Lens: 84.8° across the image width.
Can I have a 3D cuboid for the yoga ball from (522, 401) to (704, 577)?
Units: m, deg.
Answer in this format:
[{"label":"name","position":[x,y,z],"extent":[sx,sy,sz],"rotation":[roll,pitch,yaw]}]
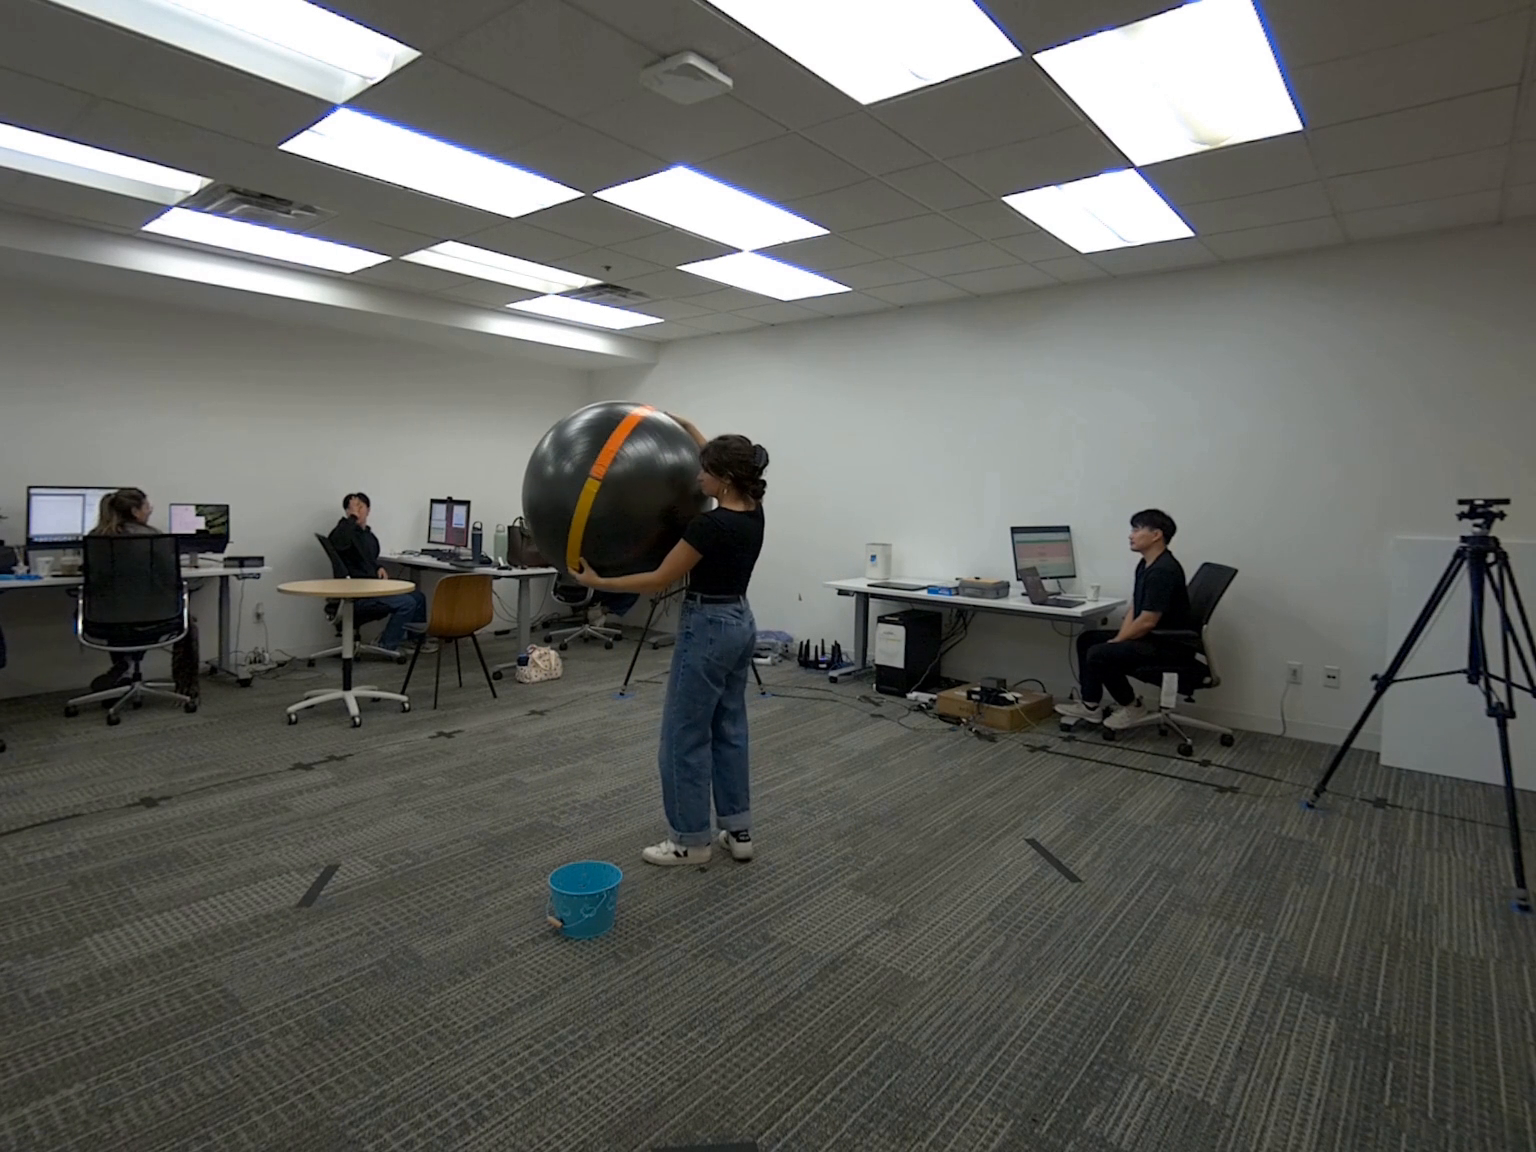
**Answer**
[{"label":"yoga ball","position":[-0.609,-0.315,3.405],"extent":[0.757,0.755,0.762],"rotation":[1,4,-2]}]
